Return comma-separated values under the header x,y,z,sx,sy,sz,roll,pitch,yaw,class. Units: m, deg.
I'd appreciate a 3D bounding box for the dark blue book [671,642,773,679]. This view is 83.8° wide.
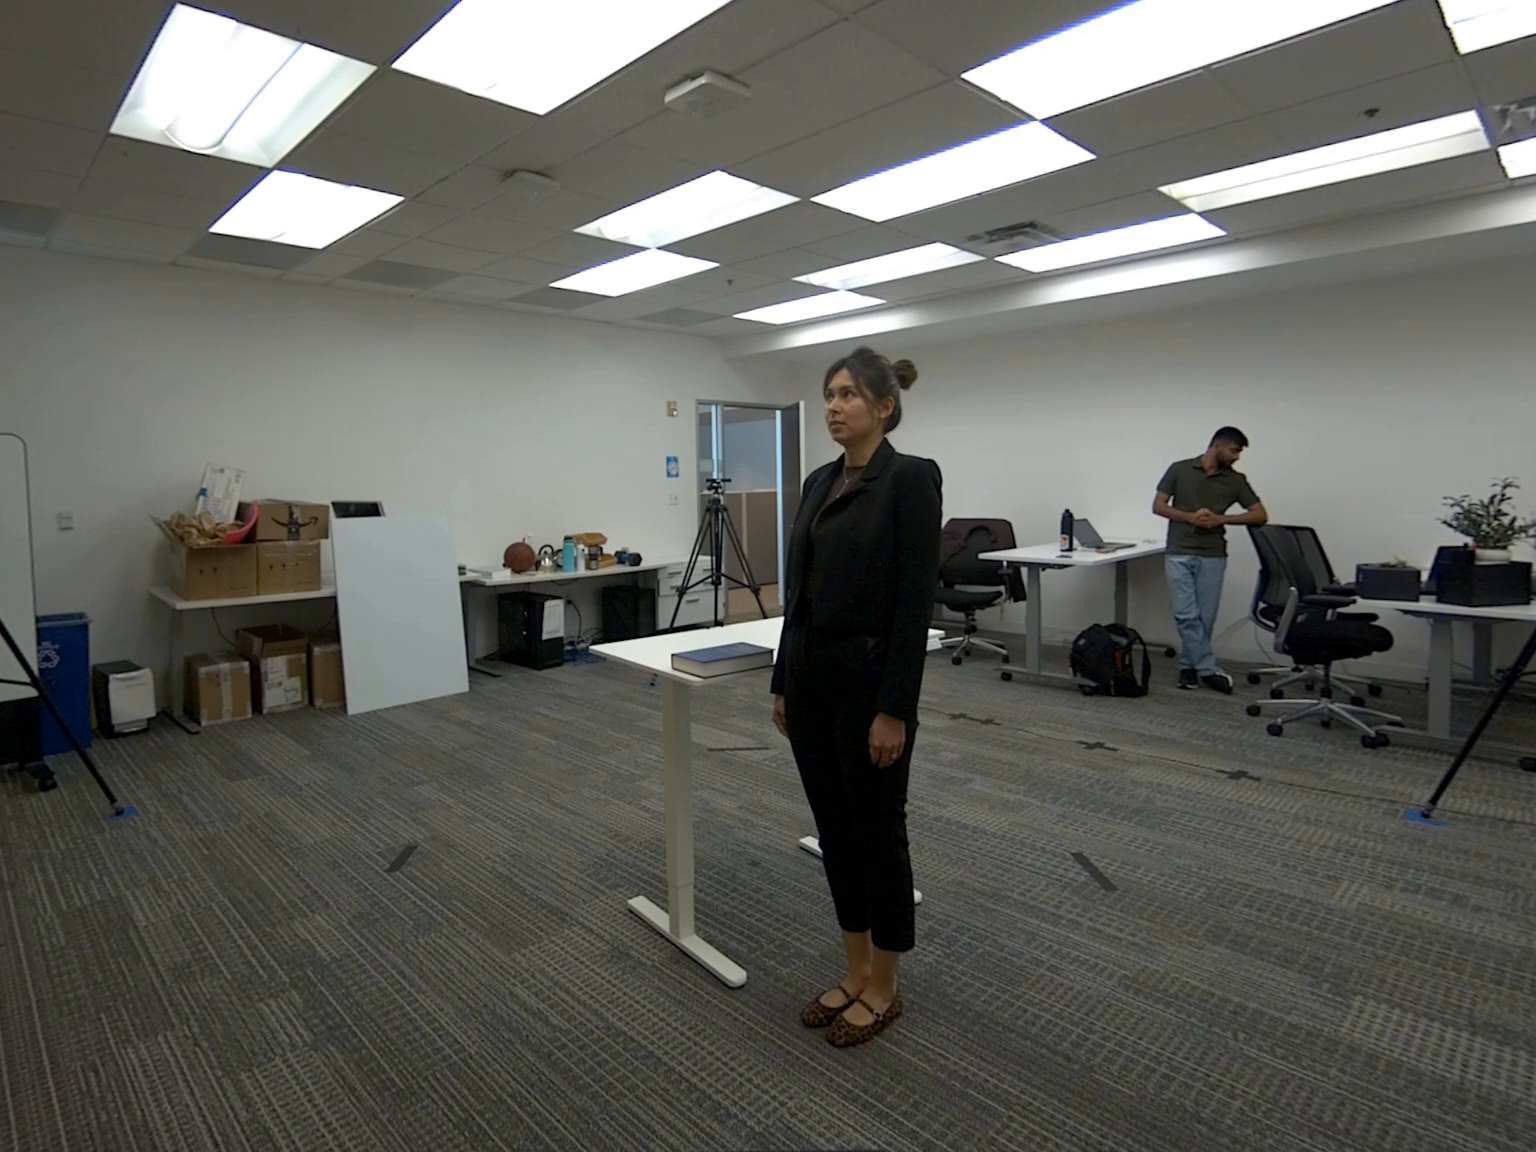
x,y,z,sx,sy,sz,roll,pitch,yaw,class
-0.126,0.228,2.366,0.239,0.045,0.168,-5,7,-32,dark blue book
